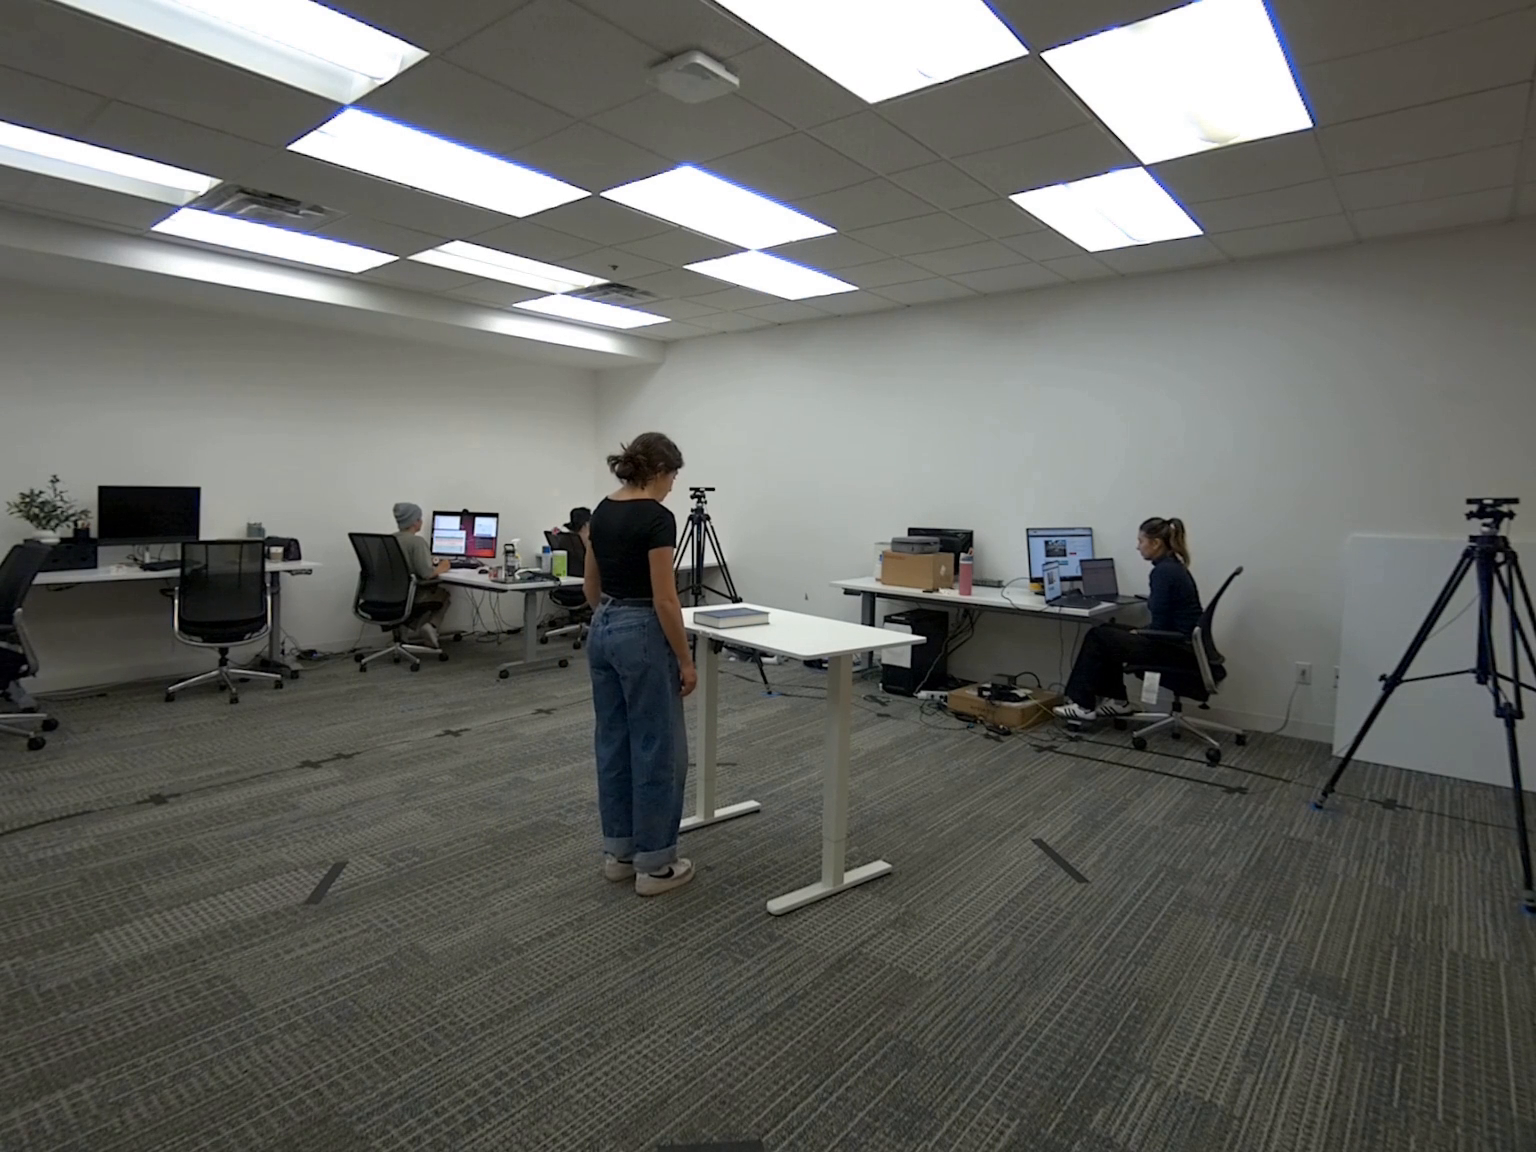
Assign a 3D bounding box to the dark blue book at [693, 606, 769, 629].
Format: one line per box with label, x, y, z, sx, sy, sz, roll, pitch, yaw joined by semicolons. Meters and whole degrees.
dark blue book;-0.143;0.160;3.199;0.238;0.045;0.169;-4;7;-39
